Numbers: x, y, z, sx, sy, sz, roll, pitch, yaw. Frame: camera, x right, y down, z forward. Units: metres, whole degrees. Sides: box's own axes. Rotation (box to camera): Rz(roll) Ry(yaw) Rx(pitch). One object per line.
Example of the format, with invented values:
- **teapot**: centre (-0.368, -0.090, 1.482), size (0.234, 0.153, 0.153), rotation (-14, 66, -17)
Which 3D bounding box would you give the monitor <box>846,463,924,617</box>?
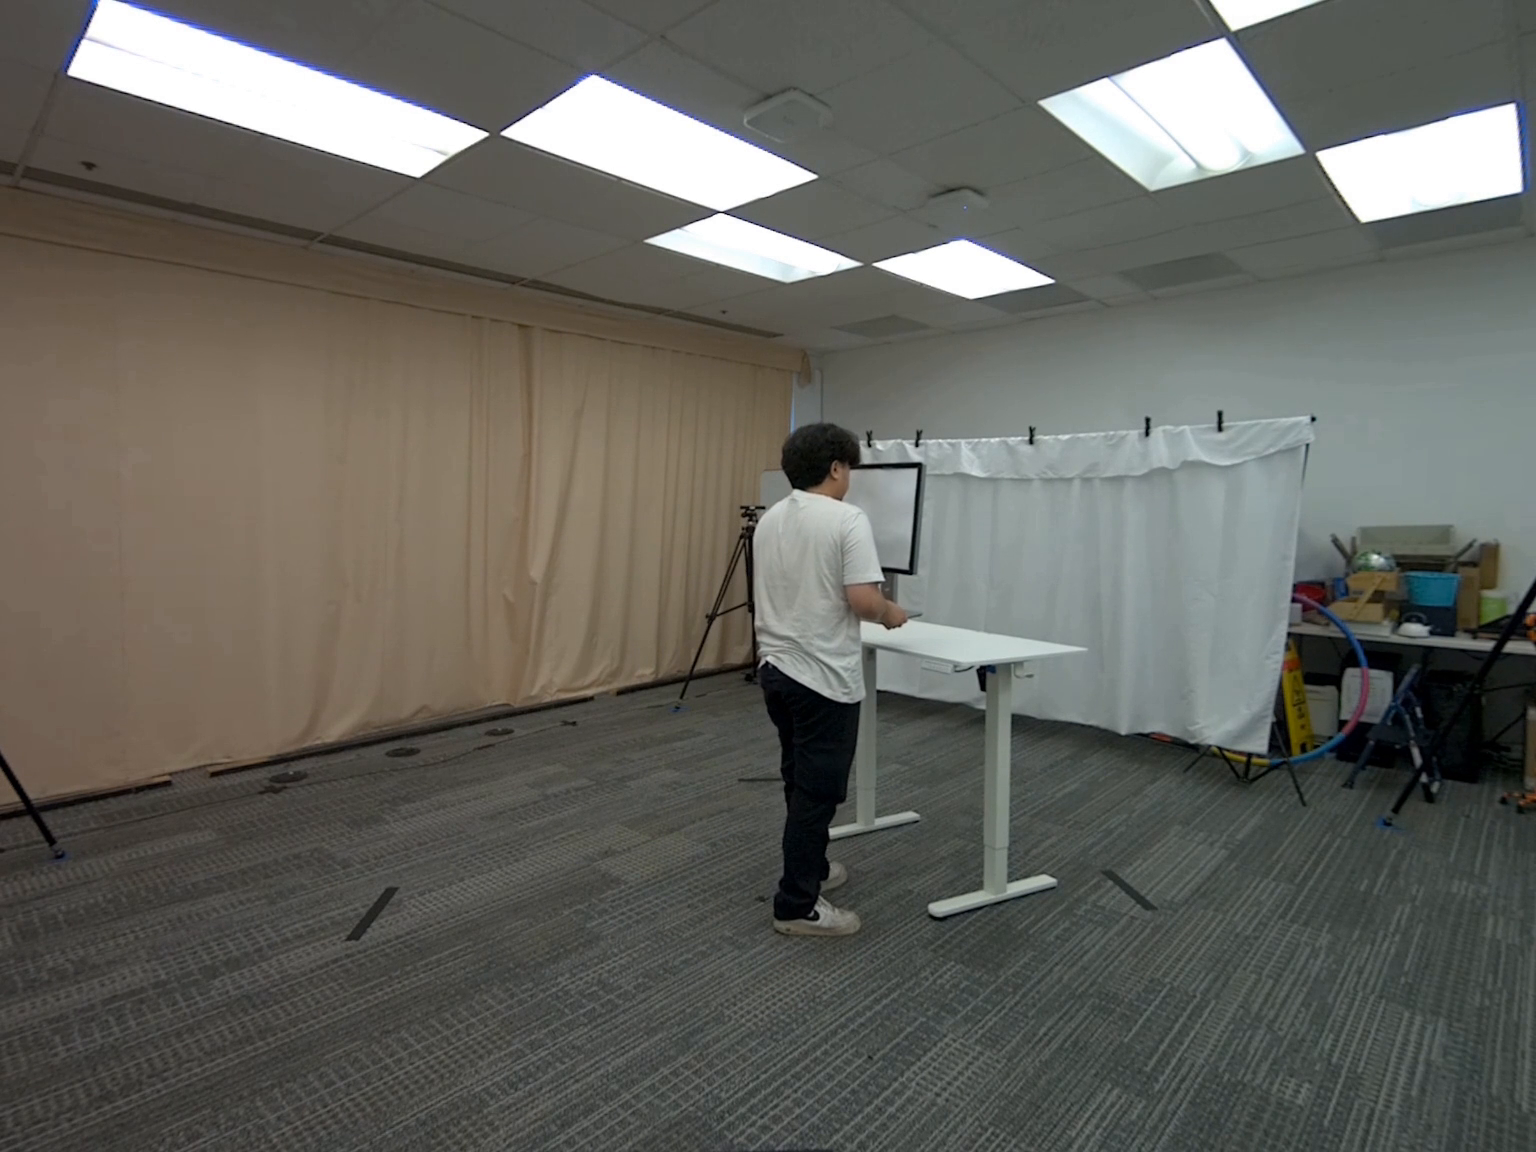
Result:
- **monitor**: centre (0.399, -0.125, 2.965), size (0.204, 0.552, 0.582), rotation (-3, 5, -31)
